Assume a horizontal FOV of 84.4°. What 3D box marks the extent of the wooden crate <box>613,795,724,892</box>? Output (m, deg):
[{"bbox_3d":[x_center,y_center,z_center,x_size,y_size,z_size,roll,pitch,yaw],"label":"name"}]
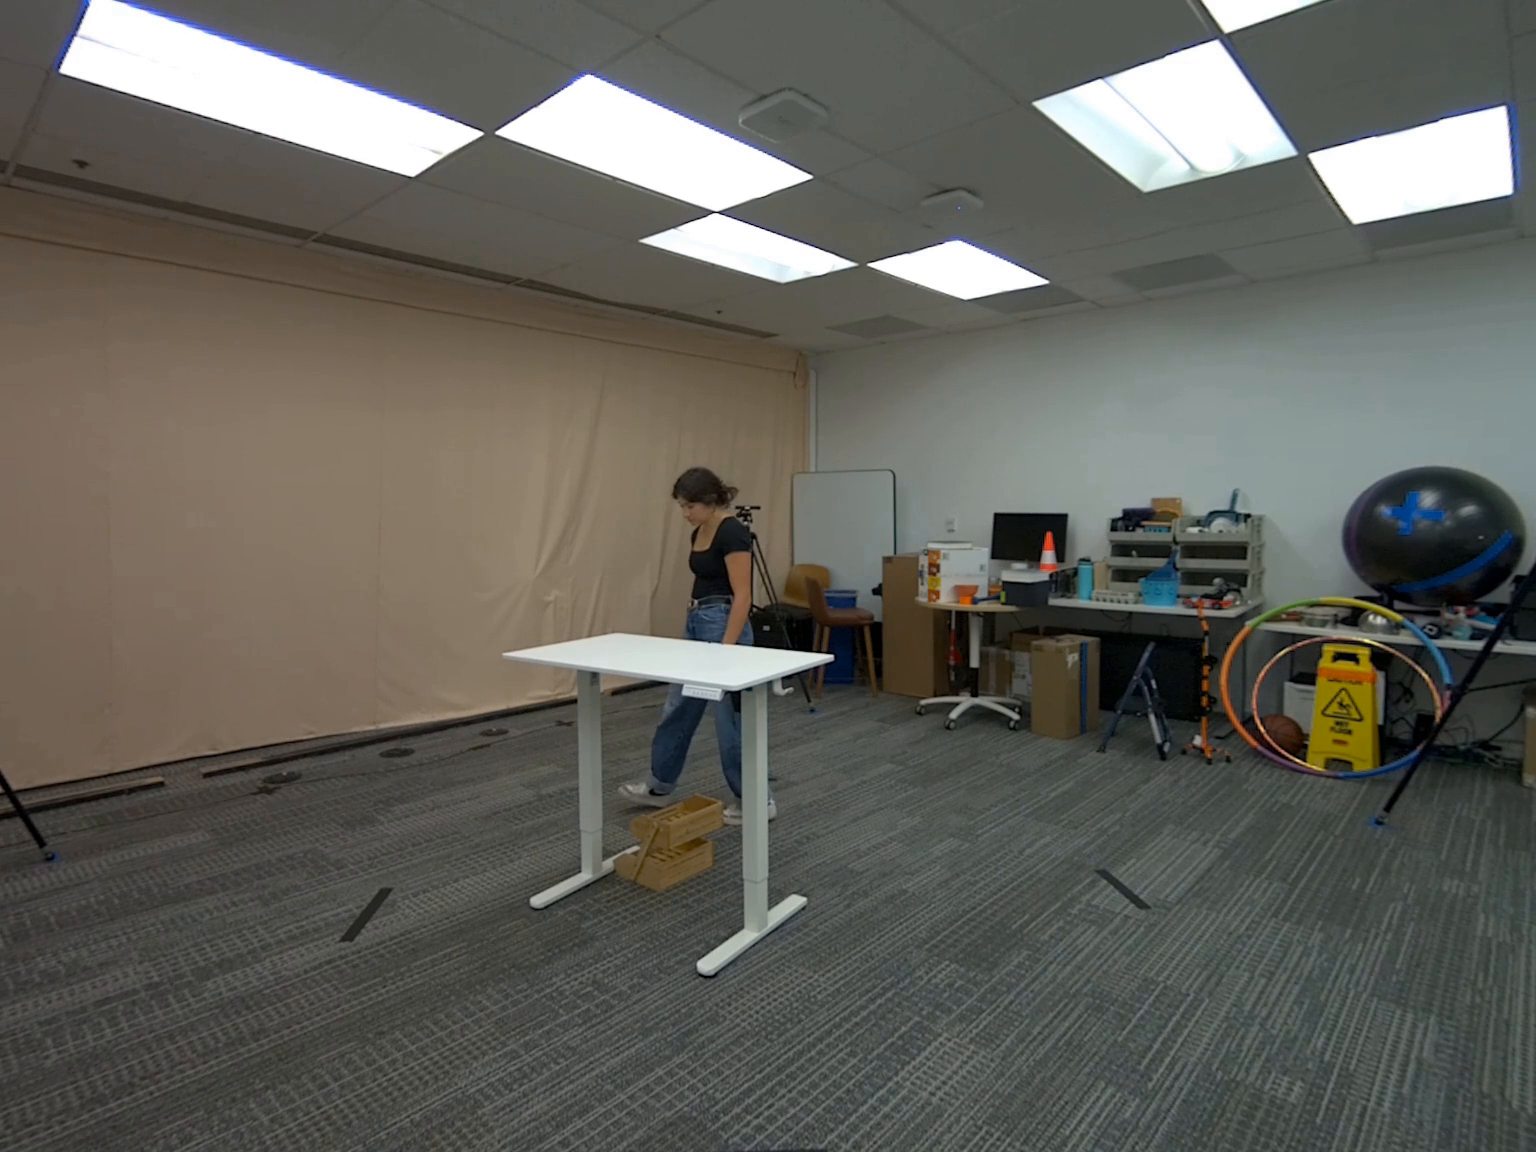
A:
[{"bbox_3d":[-0.385,0.994,3.215,0.312,0.272,0.315,4,6,40],"label":"wooden crate"}]
